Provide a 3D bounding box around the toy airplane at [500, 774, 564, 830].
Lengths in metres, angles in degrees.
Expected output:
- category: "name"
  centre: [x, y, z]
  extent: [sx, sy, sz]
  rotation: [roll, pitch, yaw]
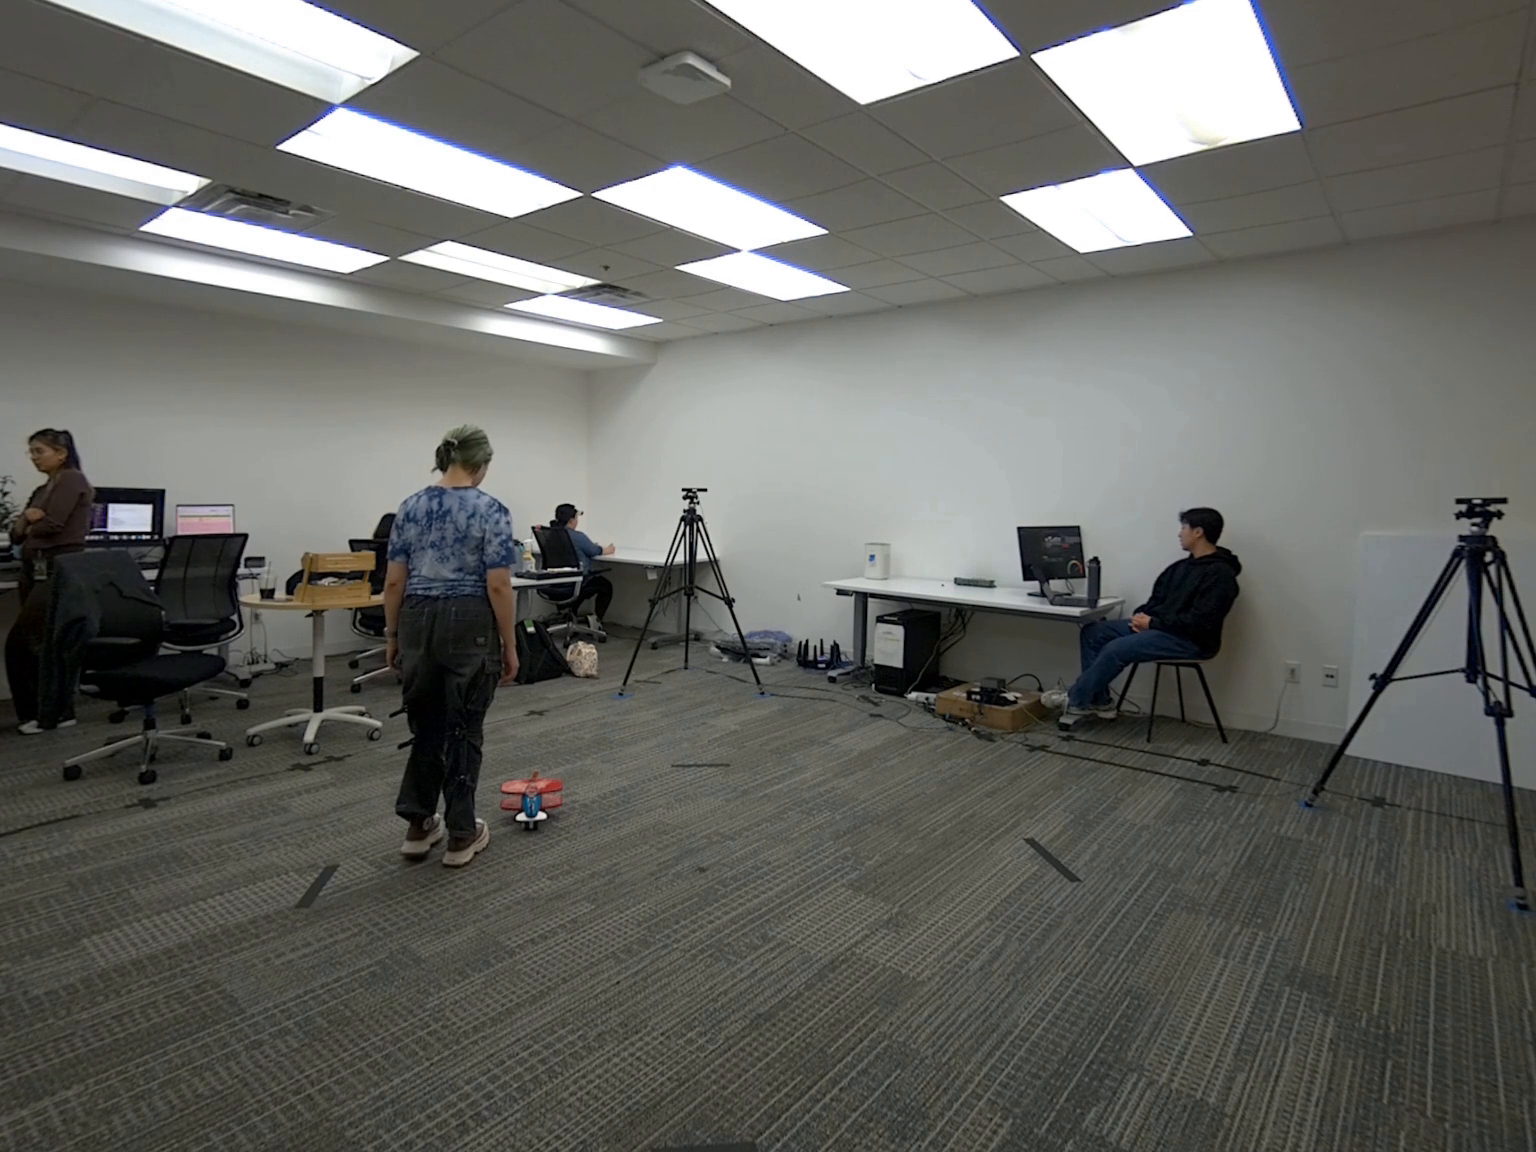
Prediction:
- category: "toy airplane"
  centre: [-0.978, 0.941, 3.541]
  extent: [0.243, 0.156, 0.268]
  rotation: [-3, 6, -41]
